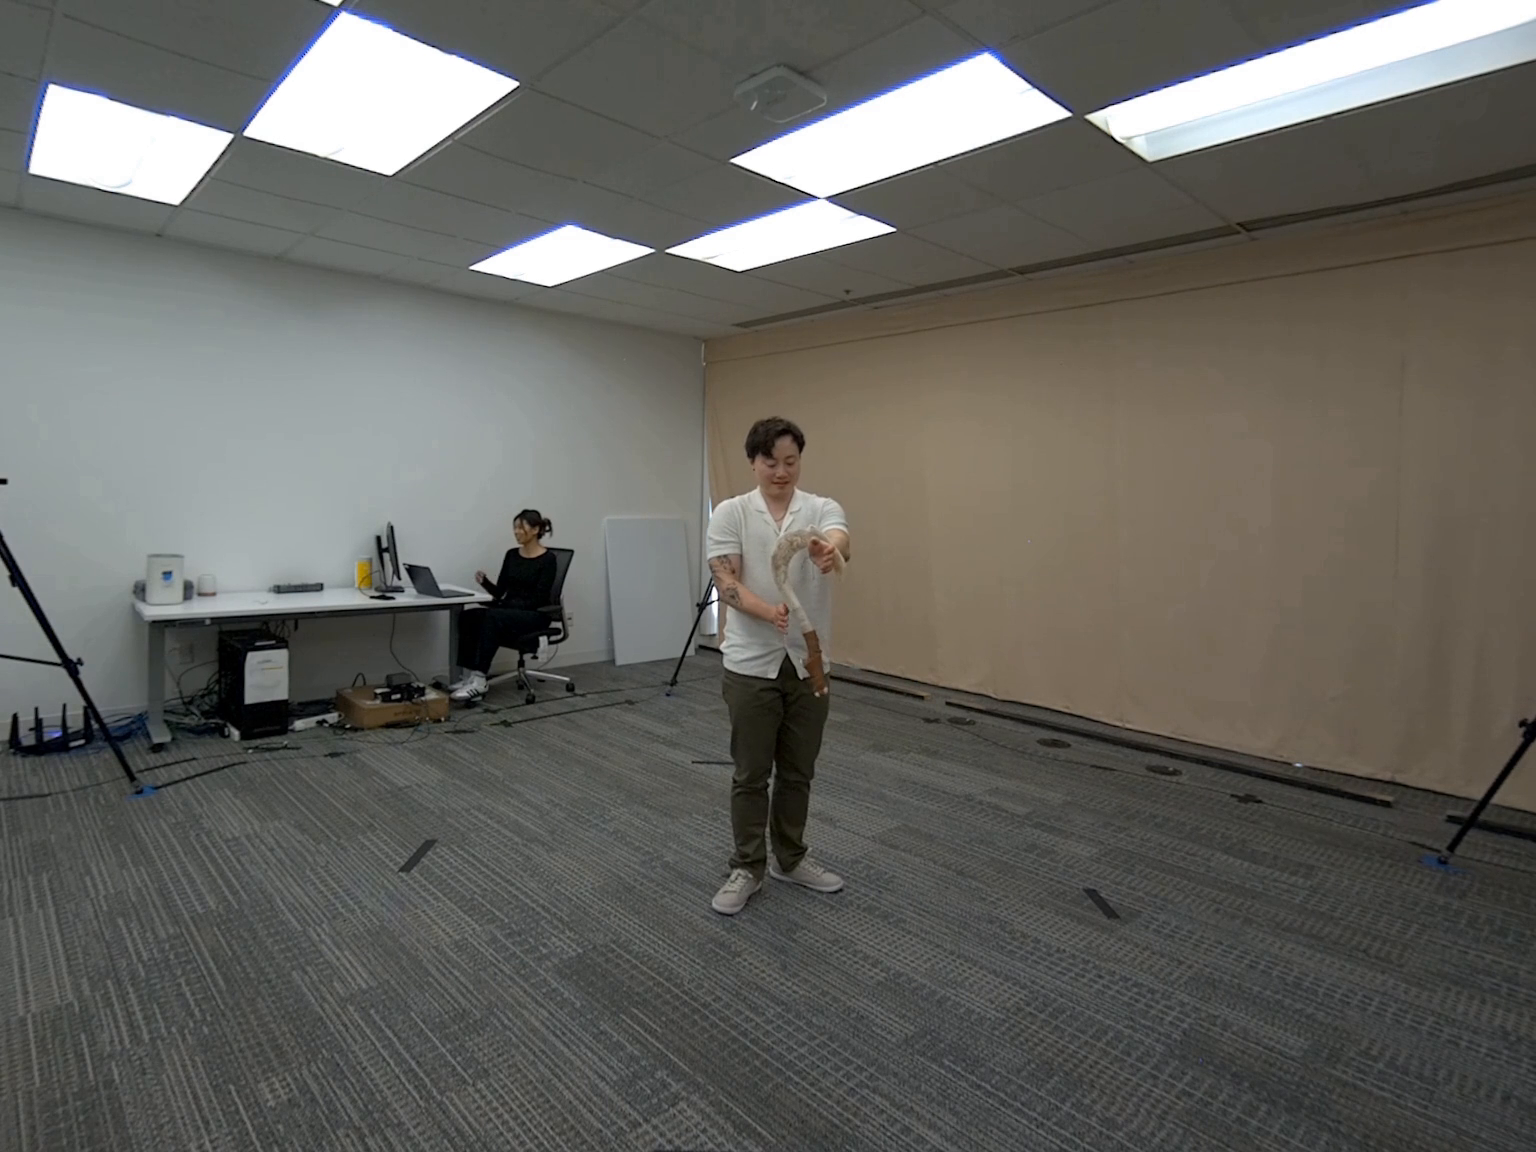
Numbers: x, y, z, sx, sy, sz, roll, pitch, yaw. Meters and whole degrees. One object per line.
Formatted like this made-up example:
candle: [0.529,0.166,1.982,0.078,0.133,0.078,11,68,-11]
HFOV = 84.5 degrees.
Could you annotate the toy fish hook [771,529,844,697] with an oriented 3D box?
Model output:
toy fish hook: [0.140,0.109,2.497,0.228,0.508,0.047,-14,-5,29]
